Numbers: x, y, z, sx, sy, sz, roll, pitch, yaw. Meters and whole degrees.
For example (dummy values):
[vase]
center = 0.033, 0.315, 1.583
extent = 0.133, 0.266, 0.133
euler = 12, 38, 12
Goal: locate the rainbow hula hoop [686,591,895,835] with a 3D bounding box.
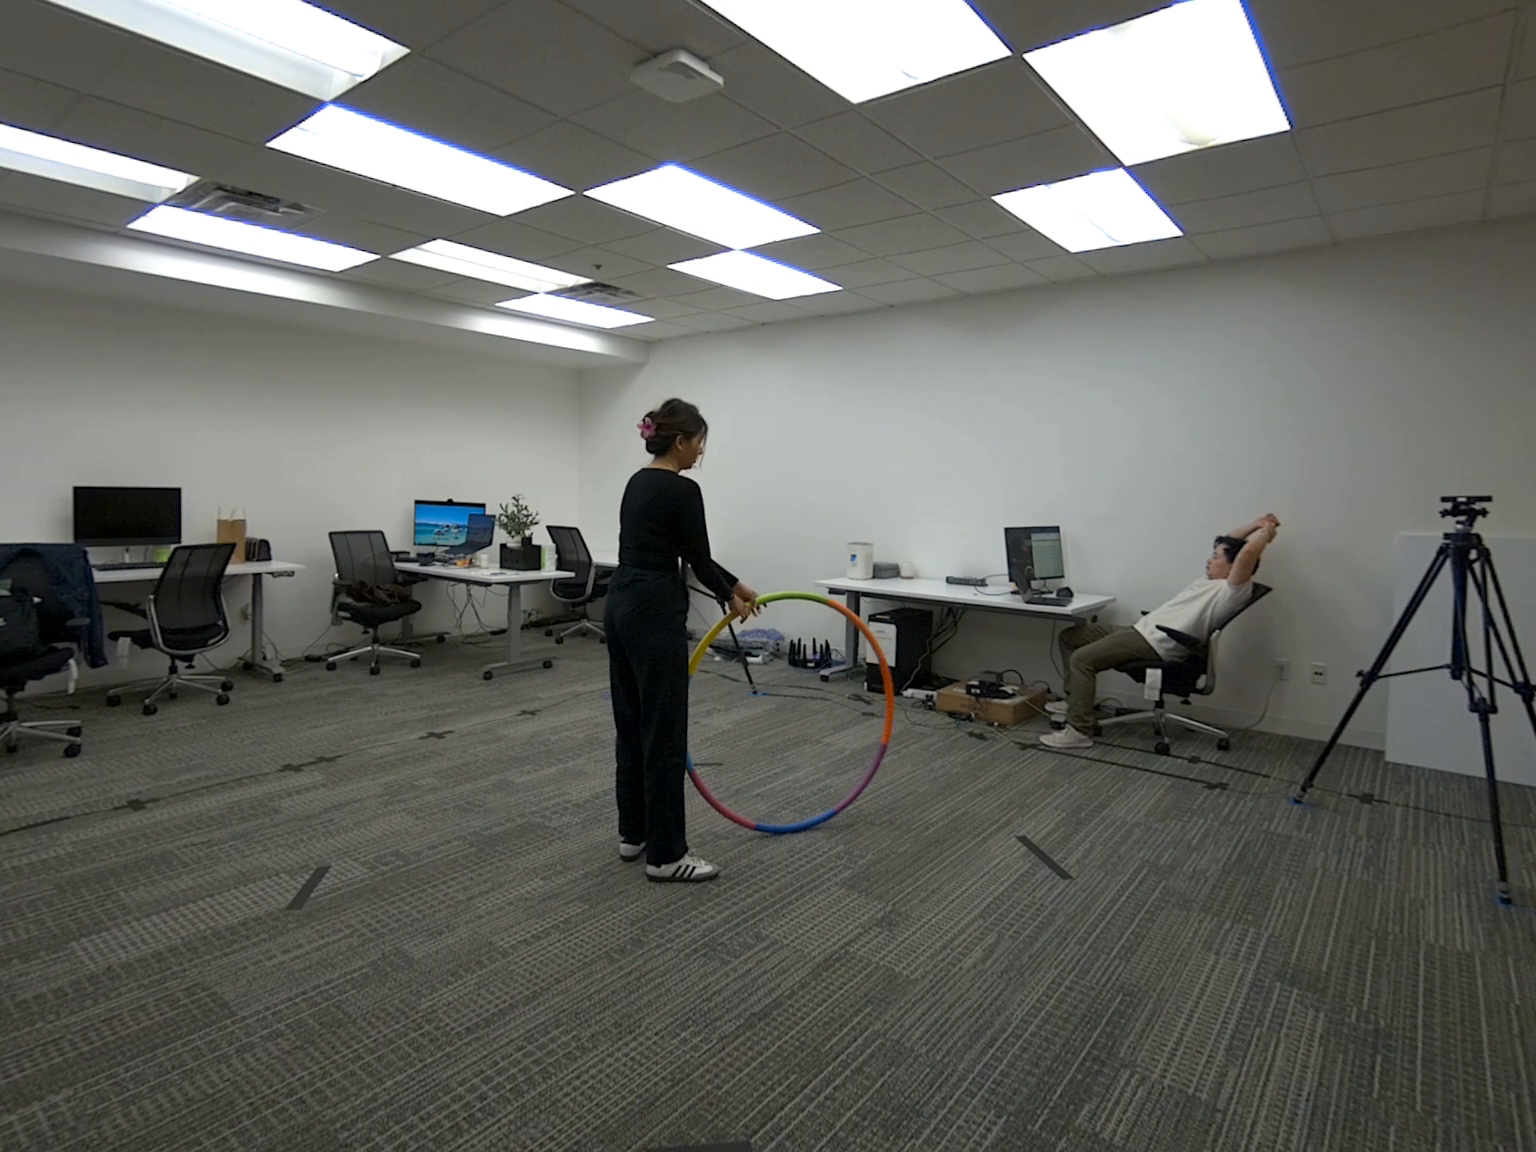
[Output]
[rainbow hula hoop]
center = 0.086, 0.558, 3.472
extent = 0.957, 0.980, 0.036
euler = -1, -2, -23
